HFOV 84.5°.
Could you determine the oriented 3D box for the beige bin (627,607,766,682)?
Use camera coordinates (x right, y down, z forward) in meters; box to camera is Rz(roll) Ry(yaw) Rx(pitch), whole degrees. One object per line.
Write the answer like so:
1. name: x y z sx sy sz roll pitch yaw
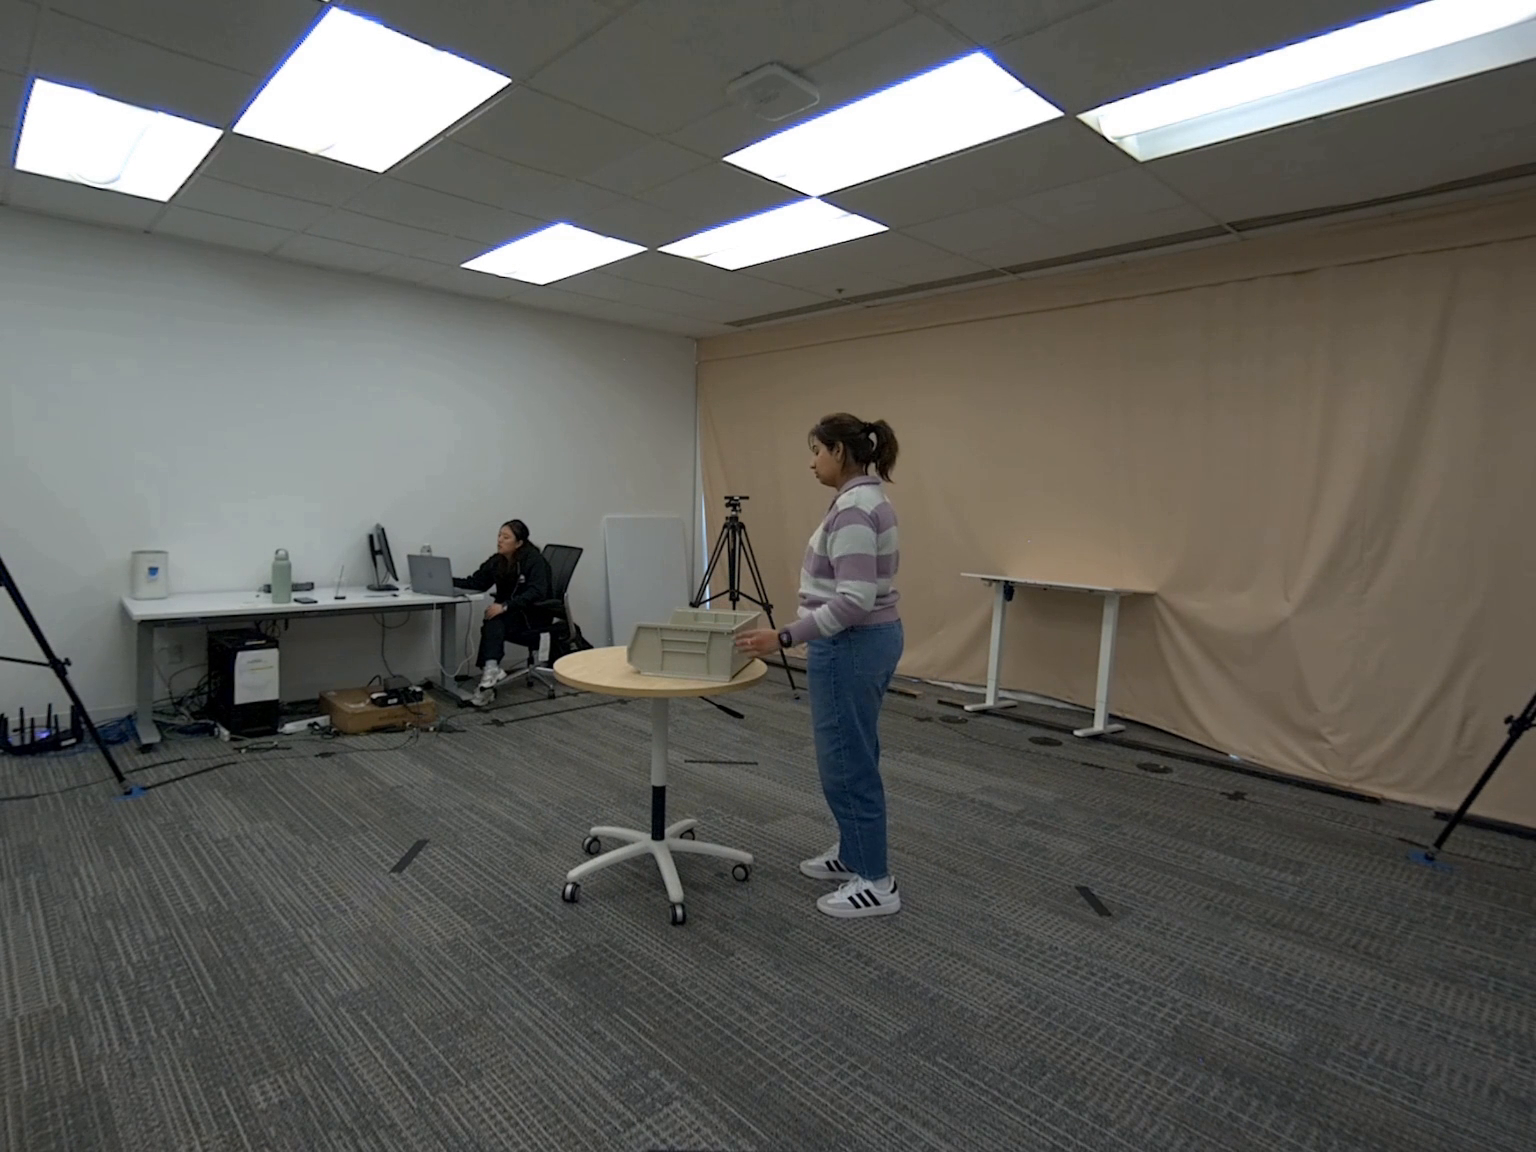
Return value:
1. beige bin: -0.258 0.236 3.016 0.381 0.188 0.419 3 6 12
